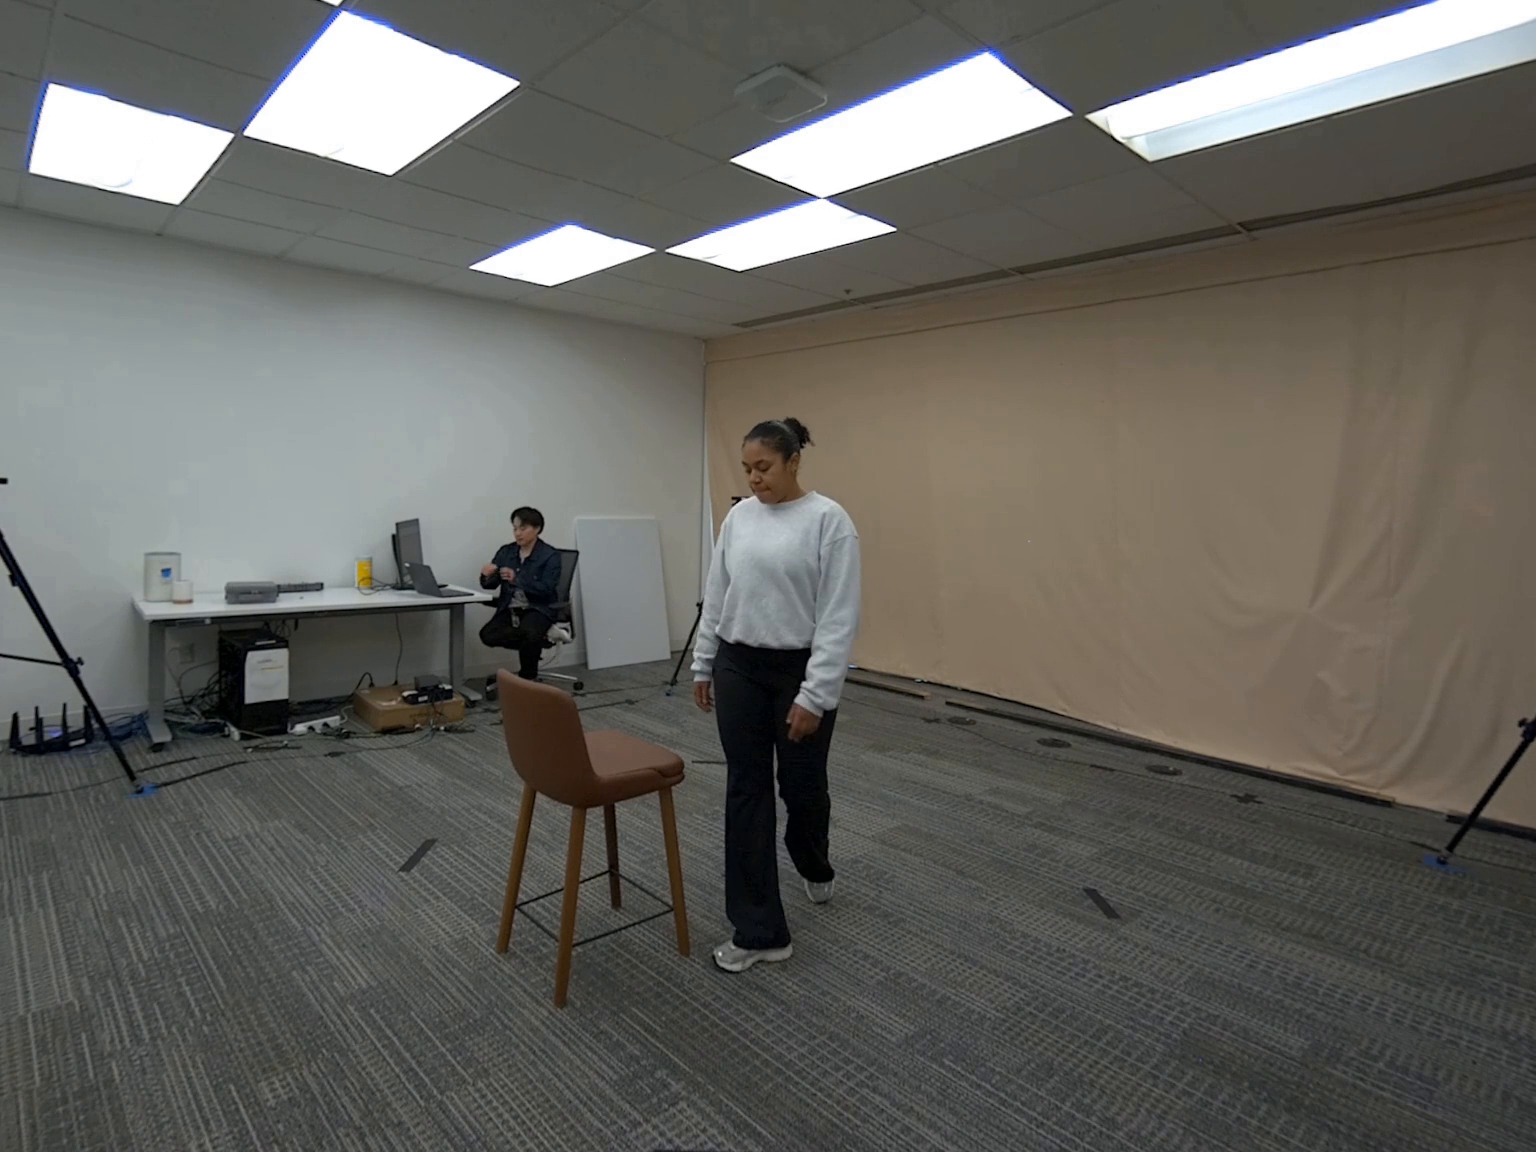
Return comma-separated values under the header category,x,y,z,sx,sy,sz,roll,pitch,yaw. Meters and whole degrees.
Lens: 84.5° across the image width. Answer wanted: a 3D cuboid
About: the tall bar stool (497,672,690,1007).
category,x,y,z,sx,sy,sz,roll,pitch,yaw
tall bar stool,-0.538,0.712,2.536,0.457,0.887,0.468,-5,6,-42
